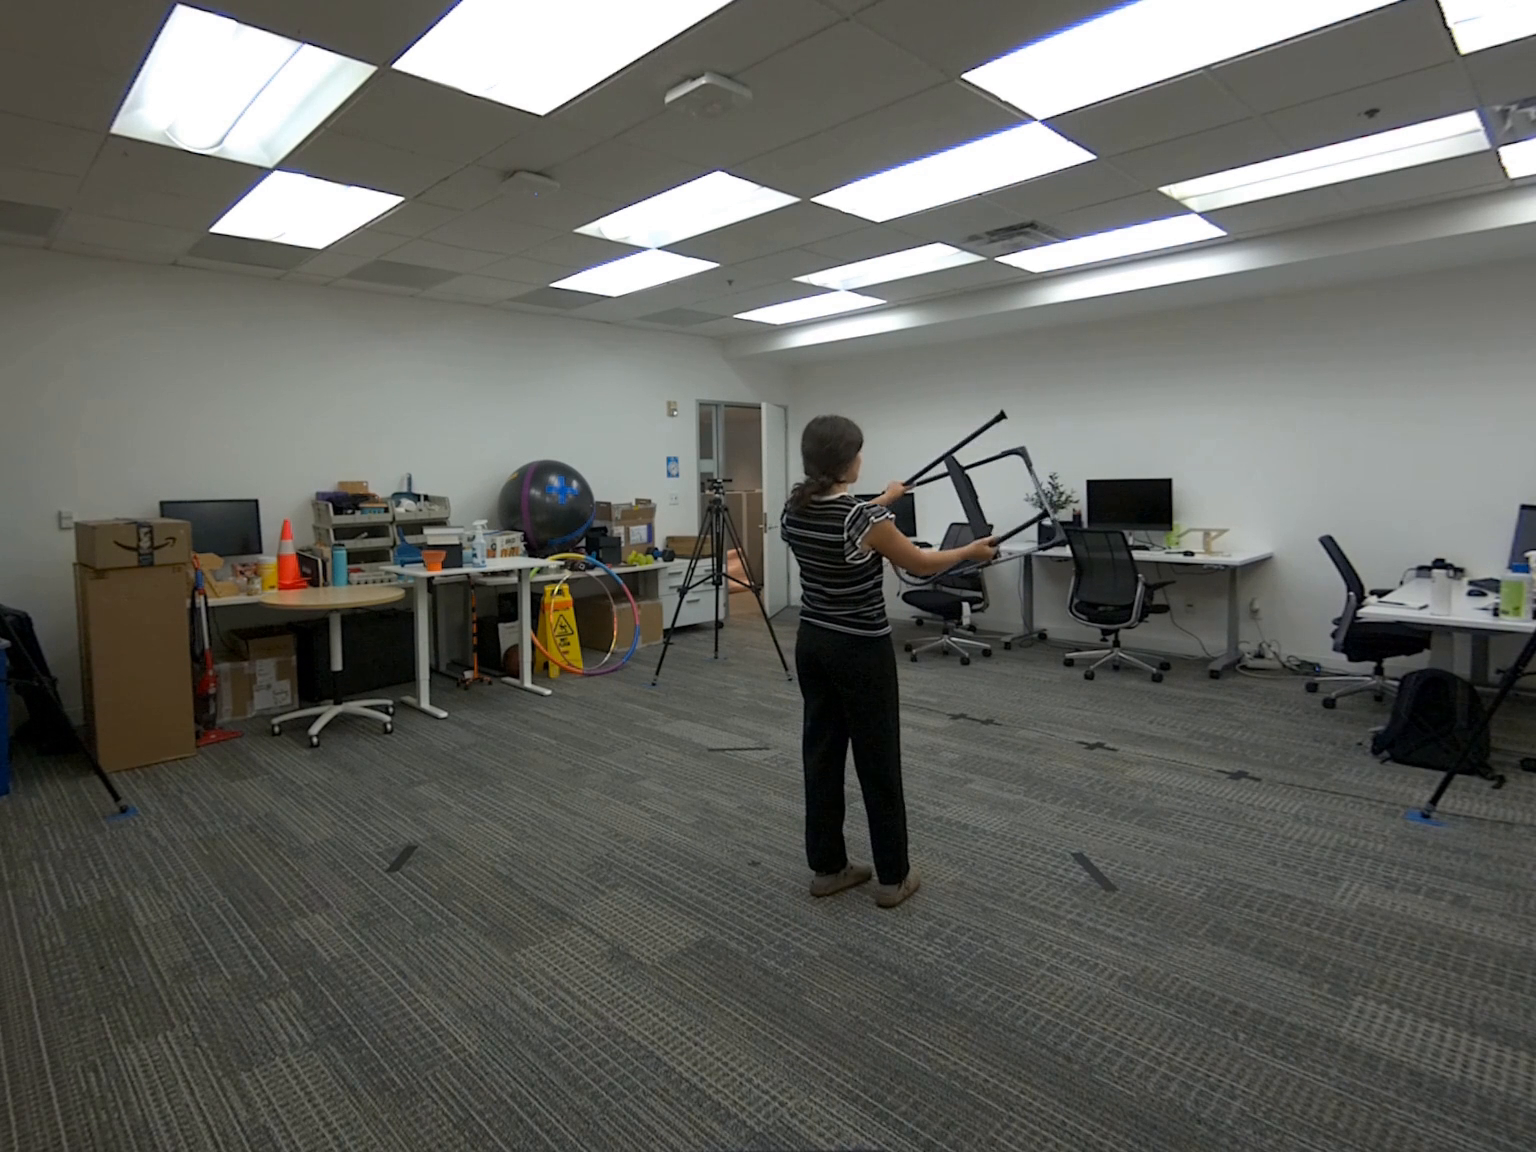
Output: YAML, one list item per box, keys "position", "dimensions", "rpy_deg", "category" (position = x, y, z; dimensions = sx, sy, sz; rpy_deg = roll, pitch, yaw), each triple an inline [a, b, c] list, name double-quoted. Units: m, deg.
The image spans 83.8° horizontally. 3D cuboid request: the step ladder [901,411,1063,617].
- position: [0.669, -0.232, 3.091]
  dimensions: [0.612, 0.442, 0.336]
  rpy_deg: [-24, -29, 21]
  category: "step ladder"
